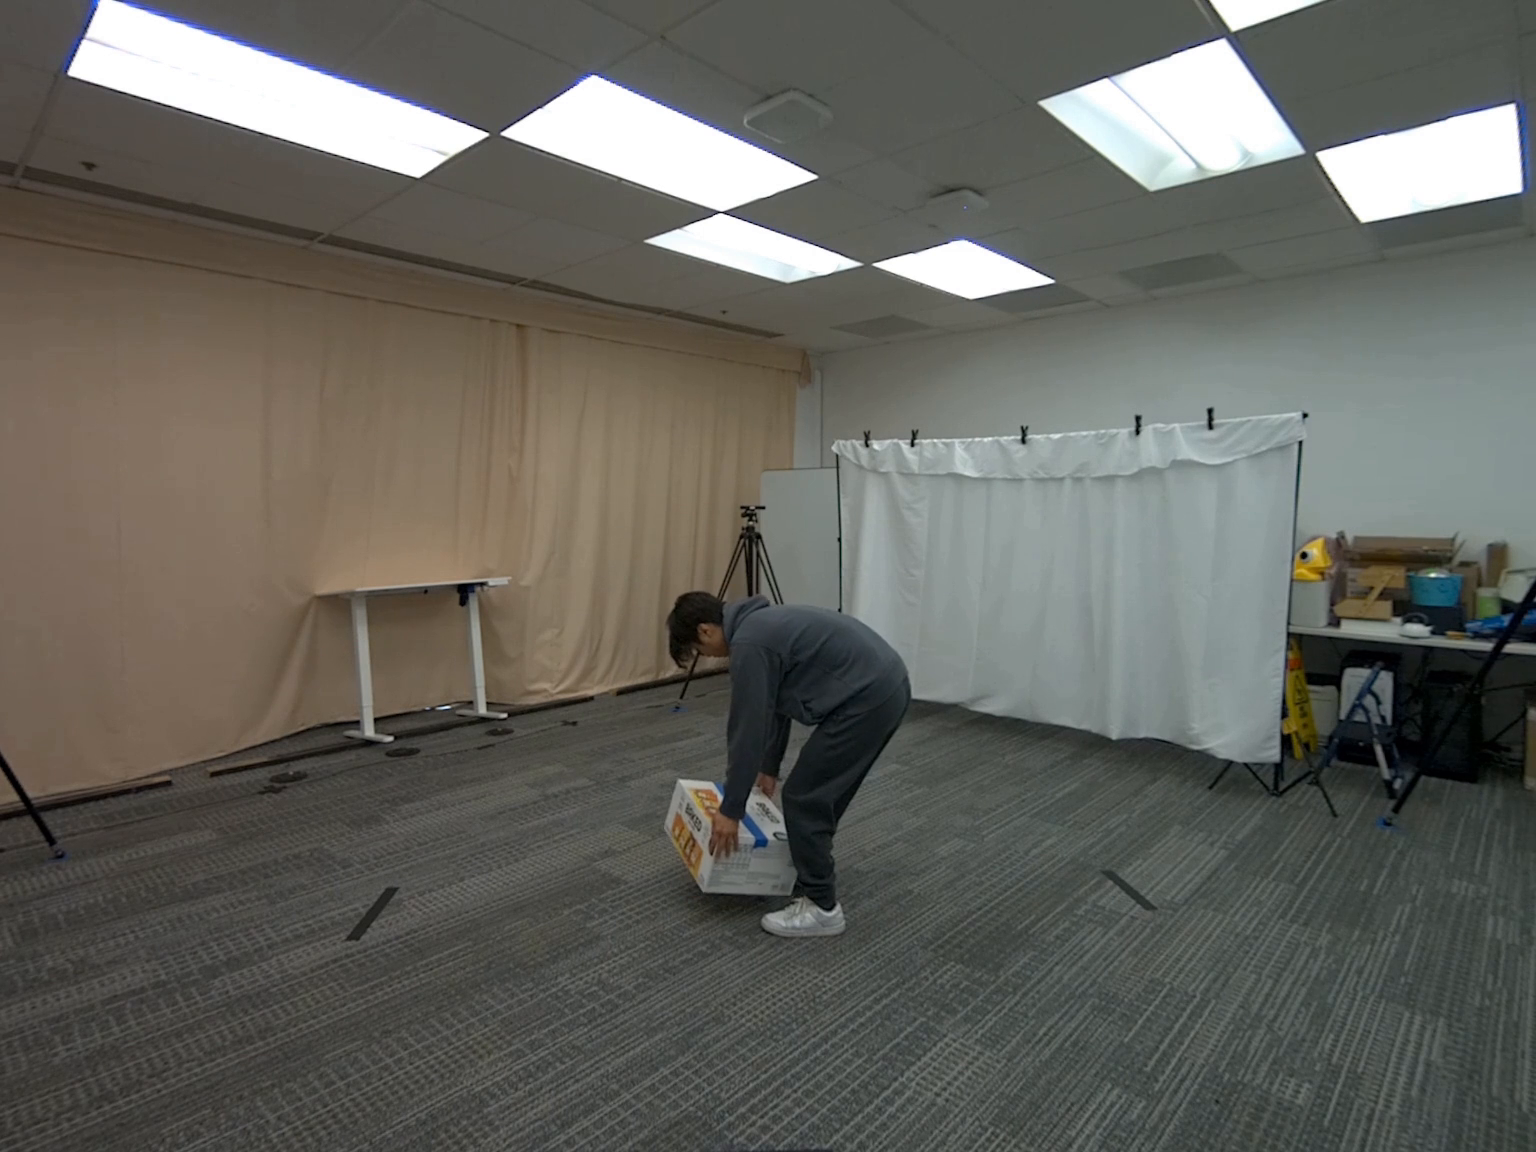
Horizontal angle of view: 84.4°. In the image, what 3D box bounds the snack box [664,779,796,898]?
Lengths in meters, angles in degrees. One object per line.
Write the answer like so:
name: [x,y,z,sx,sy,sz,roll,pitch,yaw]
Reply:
snack box: [-0.123,0.920,2.986,0.331,0.205,0.417,12,9,-26]
